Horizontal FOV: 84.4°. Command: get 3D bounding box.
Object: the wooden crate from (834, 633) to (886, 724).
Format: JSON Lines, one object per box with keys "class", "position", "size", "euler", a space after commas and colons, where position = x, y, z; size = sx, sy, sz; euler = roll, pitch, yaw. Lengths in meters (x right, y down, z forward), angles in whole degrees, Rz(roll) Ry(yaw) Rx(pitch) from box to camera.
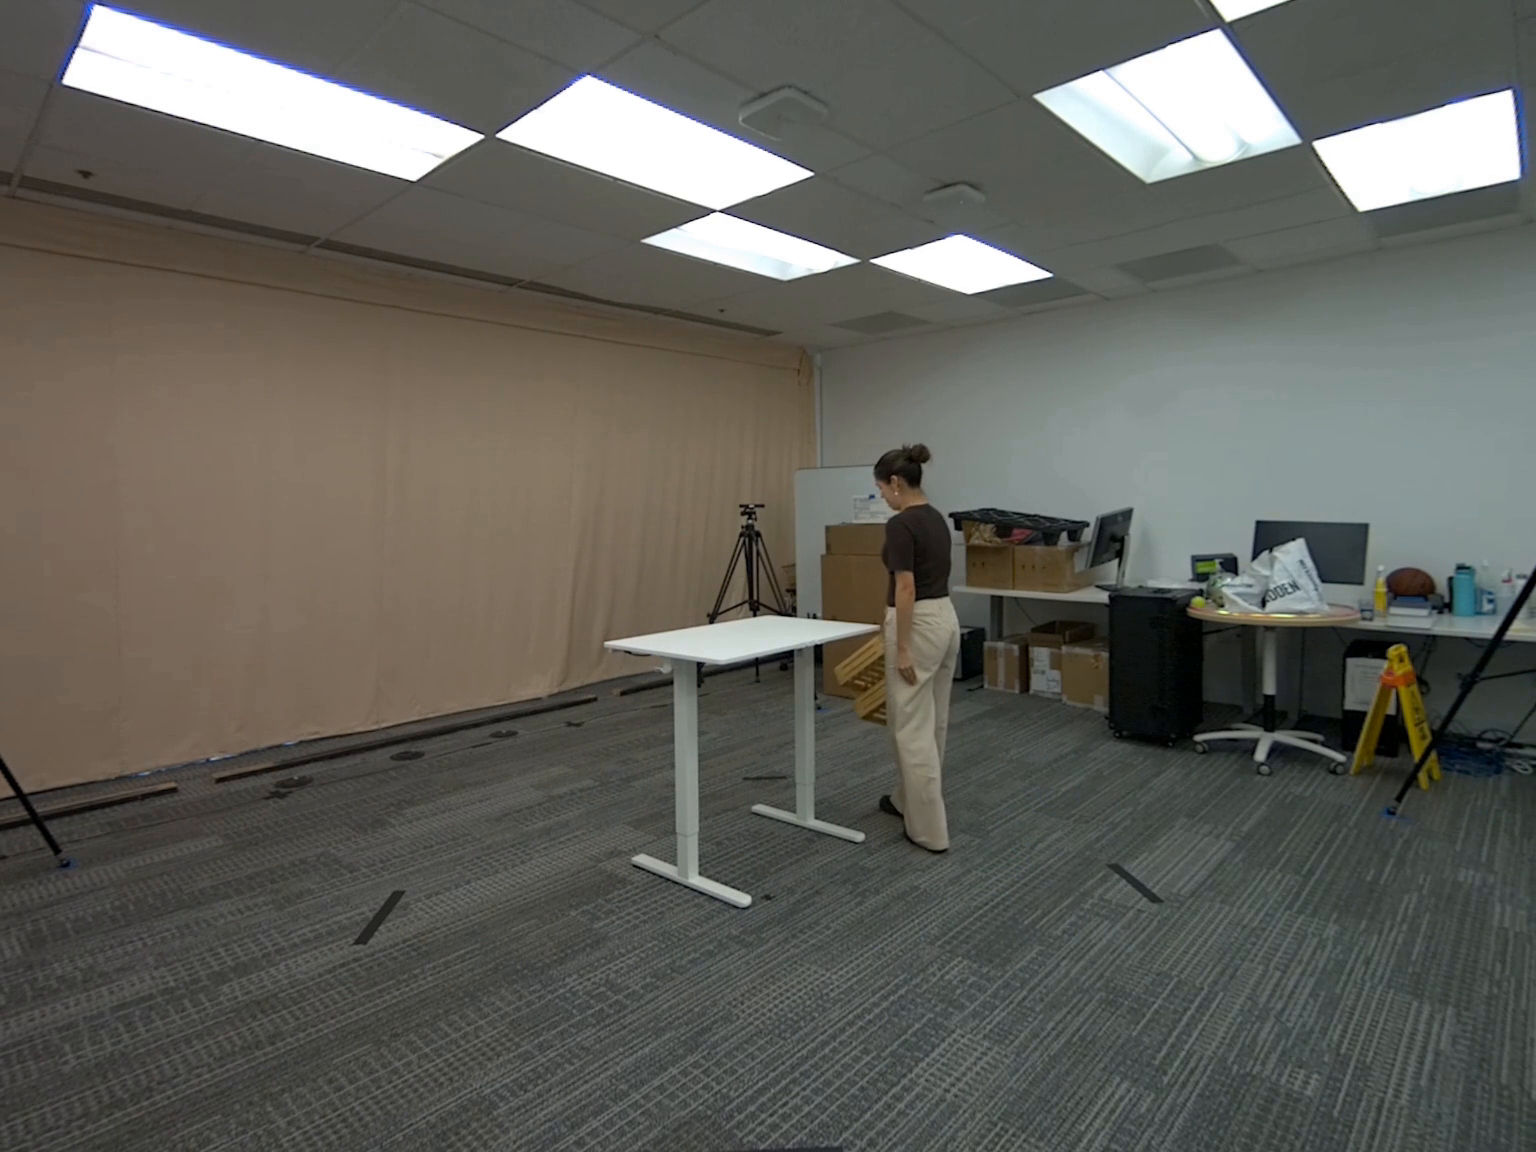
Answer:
{"class": "wooden crate", "position": [0.549, 0.486, 3.903], "size": [0.291, 0.281, 0.327], "euler": [21, -52, -40]}
